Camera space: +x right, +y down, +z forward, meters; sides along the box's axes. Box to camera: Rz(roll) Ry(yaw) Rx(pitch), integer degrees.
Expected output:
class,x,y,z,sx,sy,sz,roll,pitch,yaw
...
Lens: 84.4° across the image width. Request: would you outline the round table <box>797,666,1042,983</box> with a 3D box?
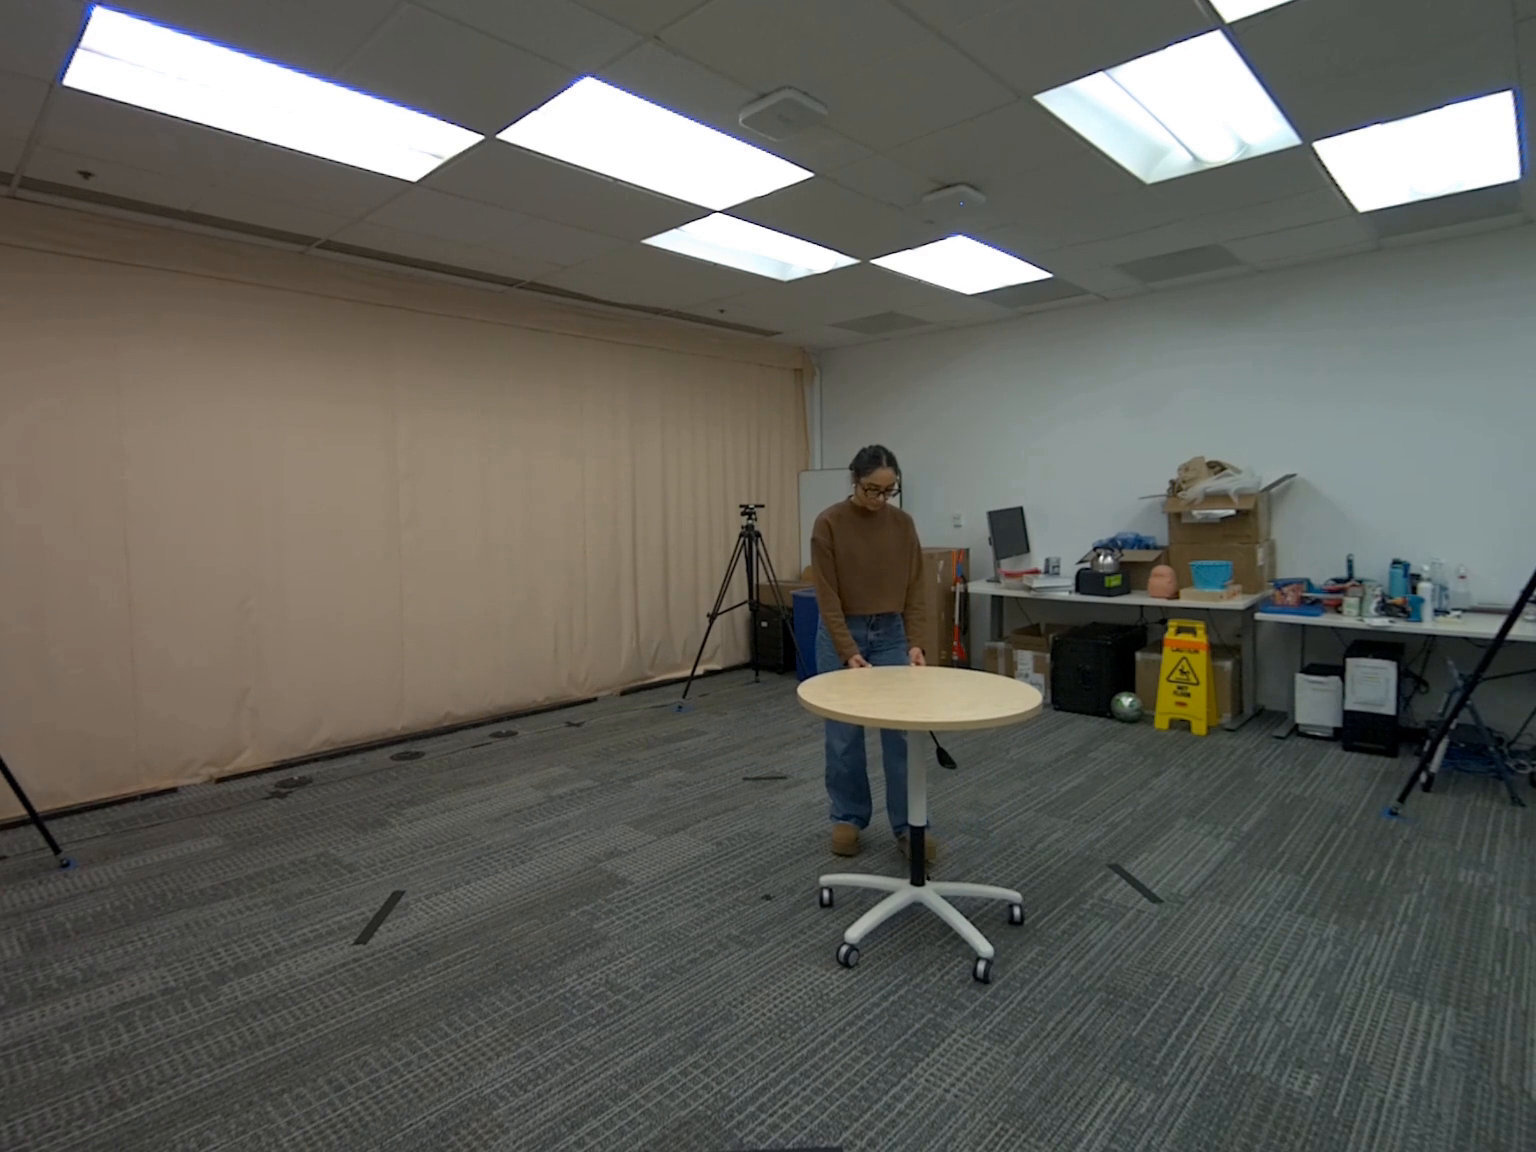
class,x,y,z,sx,sy,sz,roll,pitch,yaw
round table,0.487,0.762,2.747,0.763,0.792,0.767,-1,4,-2
